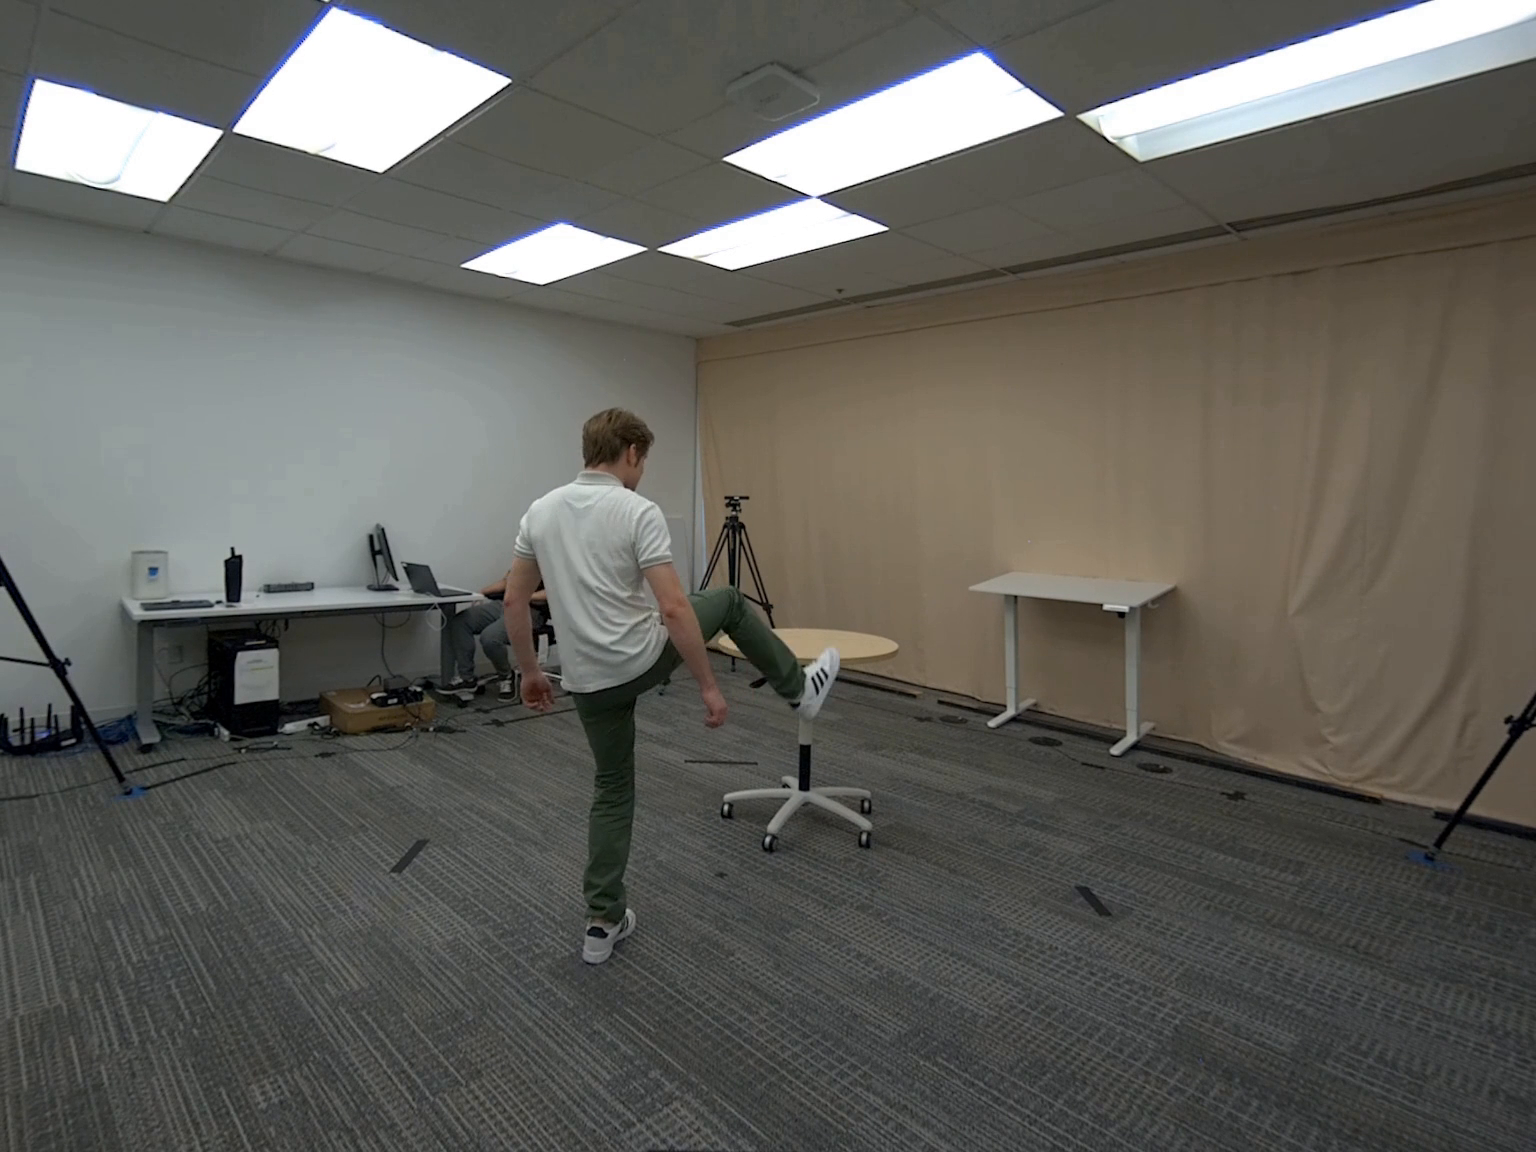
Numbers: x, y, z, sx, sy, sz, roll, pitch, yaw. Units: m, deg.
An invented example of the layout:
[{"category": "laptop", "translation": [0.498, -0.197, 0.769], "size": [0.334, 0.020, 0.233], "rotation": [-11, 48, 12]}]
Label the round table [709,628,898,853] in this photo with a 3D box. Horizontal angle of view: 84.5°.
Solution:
[{"category": "round table", "translation": [0.158, 0.678, 3.621], "size": [0.763, 0.792, 0.766], "rotation": [1, 4, -1]}]
